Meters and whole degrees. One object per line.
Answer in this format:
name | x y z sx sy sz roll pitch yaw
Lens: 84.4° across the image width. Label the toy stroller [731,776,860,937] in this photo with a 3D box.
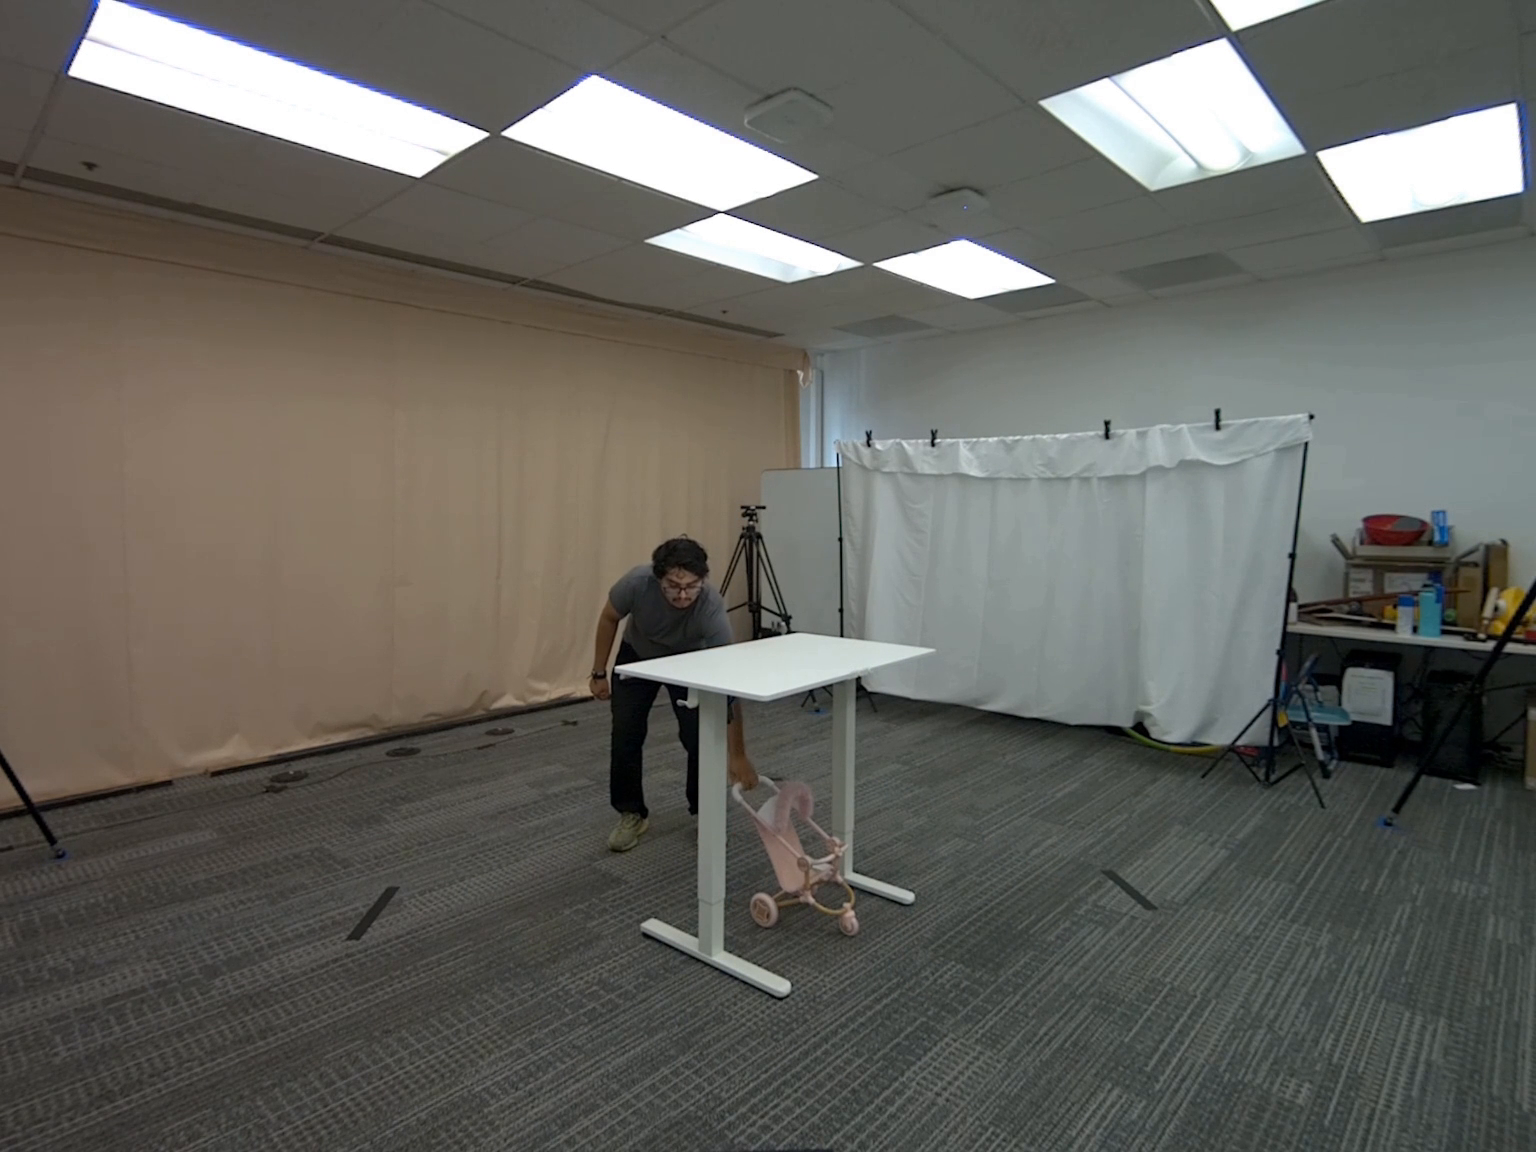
toy stroller | 0.111 0.934 2.833 0.349 0.538 0.273 -19 -9 40
